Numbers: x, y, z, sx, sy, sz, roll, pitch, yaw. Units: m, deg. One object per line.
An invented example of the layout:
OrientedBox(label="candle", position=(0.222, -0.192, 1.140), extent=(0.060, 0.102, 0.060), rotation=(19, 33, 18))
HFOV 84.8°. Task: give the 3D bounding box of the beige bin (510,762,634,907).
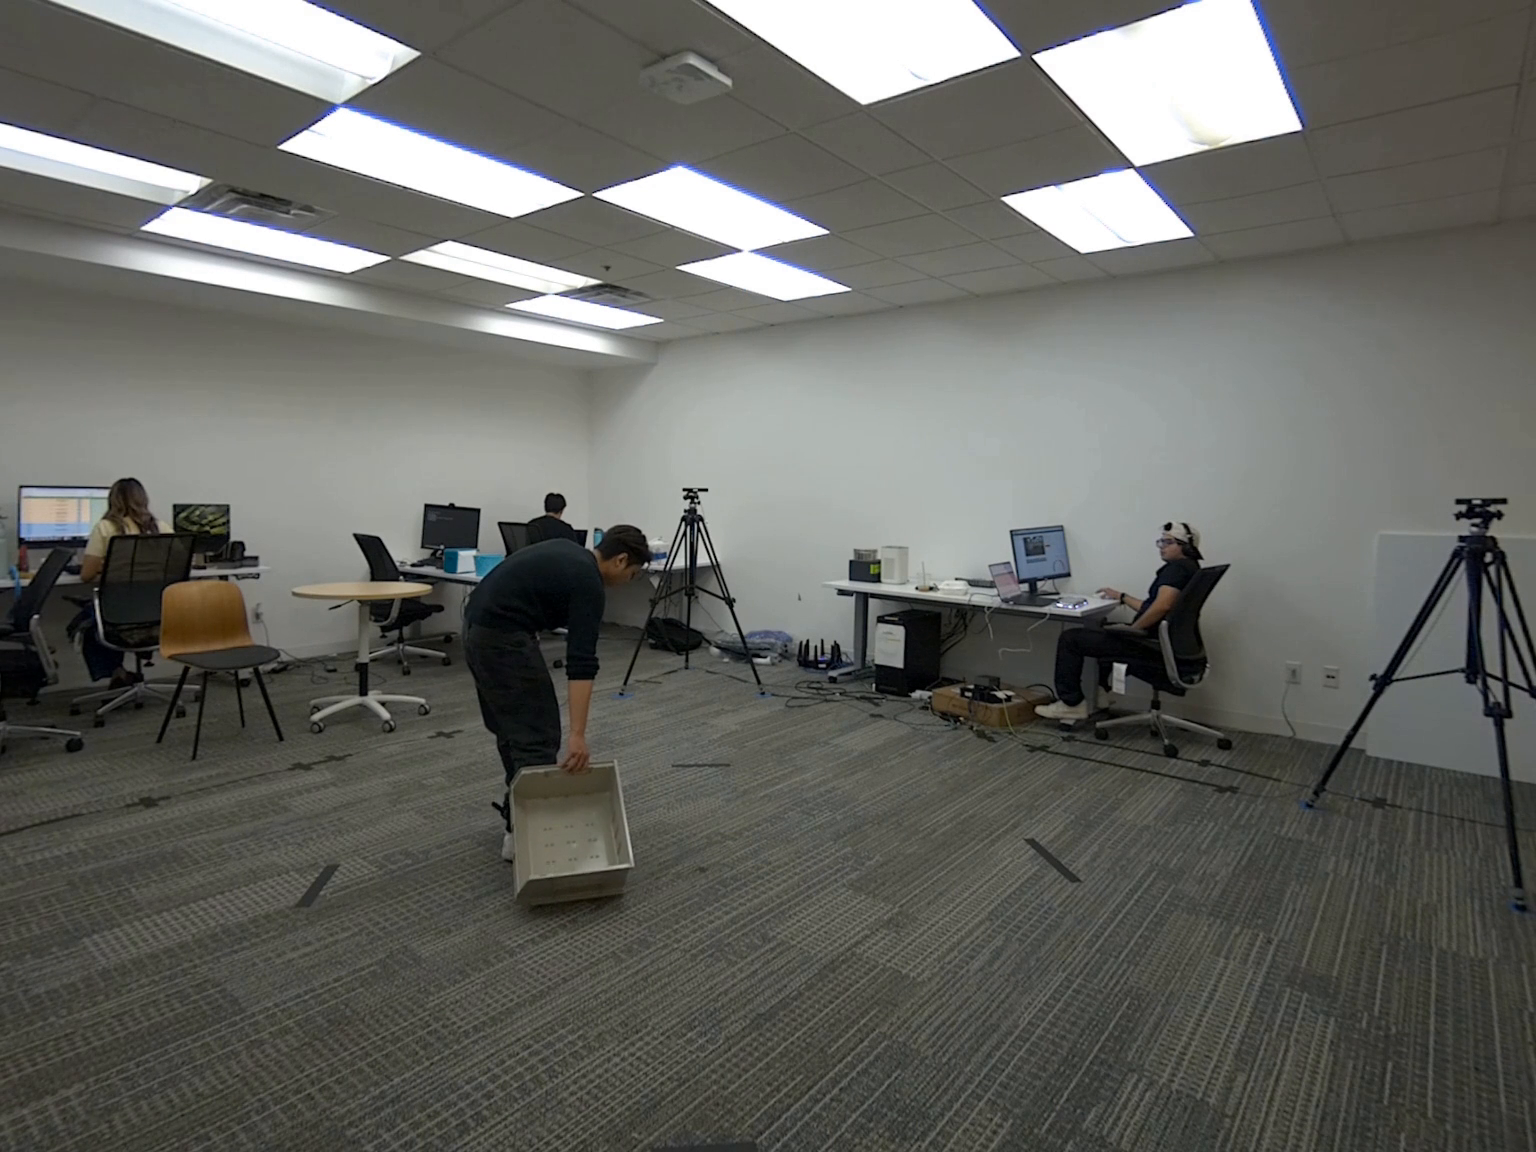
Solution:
OrientedBox(label="beige bin", position=(-0.703, 0.886, 2.947), extent=(0.370, 0.185, 0.439), rotation=(0, 40, -19))
